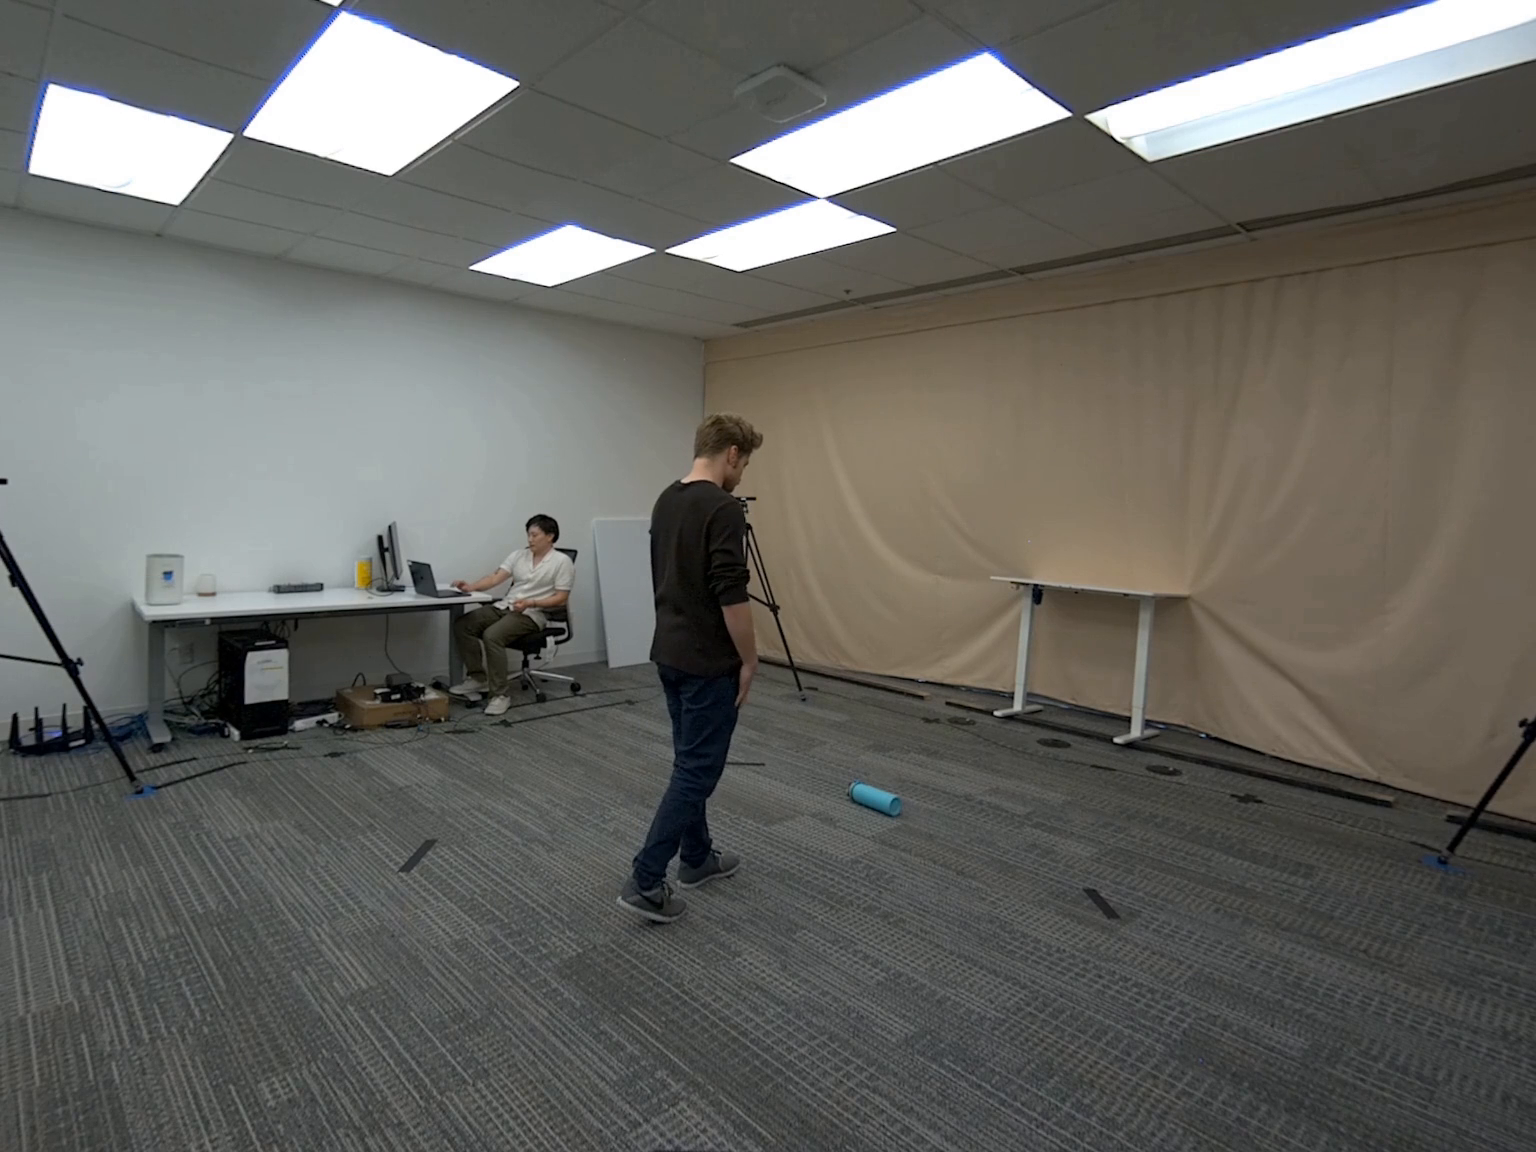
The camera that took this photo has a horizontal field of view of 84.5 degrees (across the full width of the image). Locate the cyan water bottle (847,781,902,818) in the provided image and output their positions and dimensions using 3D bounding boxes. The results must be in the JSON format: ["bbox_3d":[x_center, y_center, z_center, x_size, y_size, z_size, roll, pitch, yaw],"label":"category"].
[{"bbox_3d":[0.468,1.010,3.857,0.090,0.092,0.290,-2,6,-38],"label":"cyan water bottle"}]
